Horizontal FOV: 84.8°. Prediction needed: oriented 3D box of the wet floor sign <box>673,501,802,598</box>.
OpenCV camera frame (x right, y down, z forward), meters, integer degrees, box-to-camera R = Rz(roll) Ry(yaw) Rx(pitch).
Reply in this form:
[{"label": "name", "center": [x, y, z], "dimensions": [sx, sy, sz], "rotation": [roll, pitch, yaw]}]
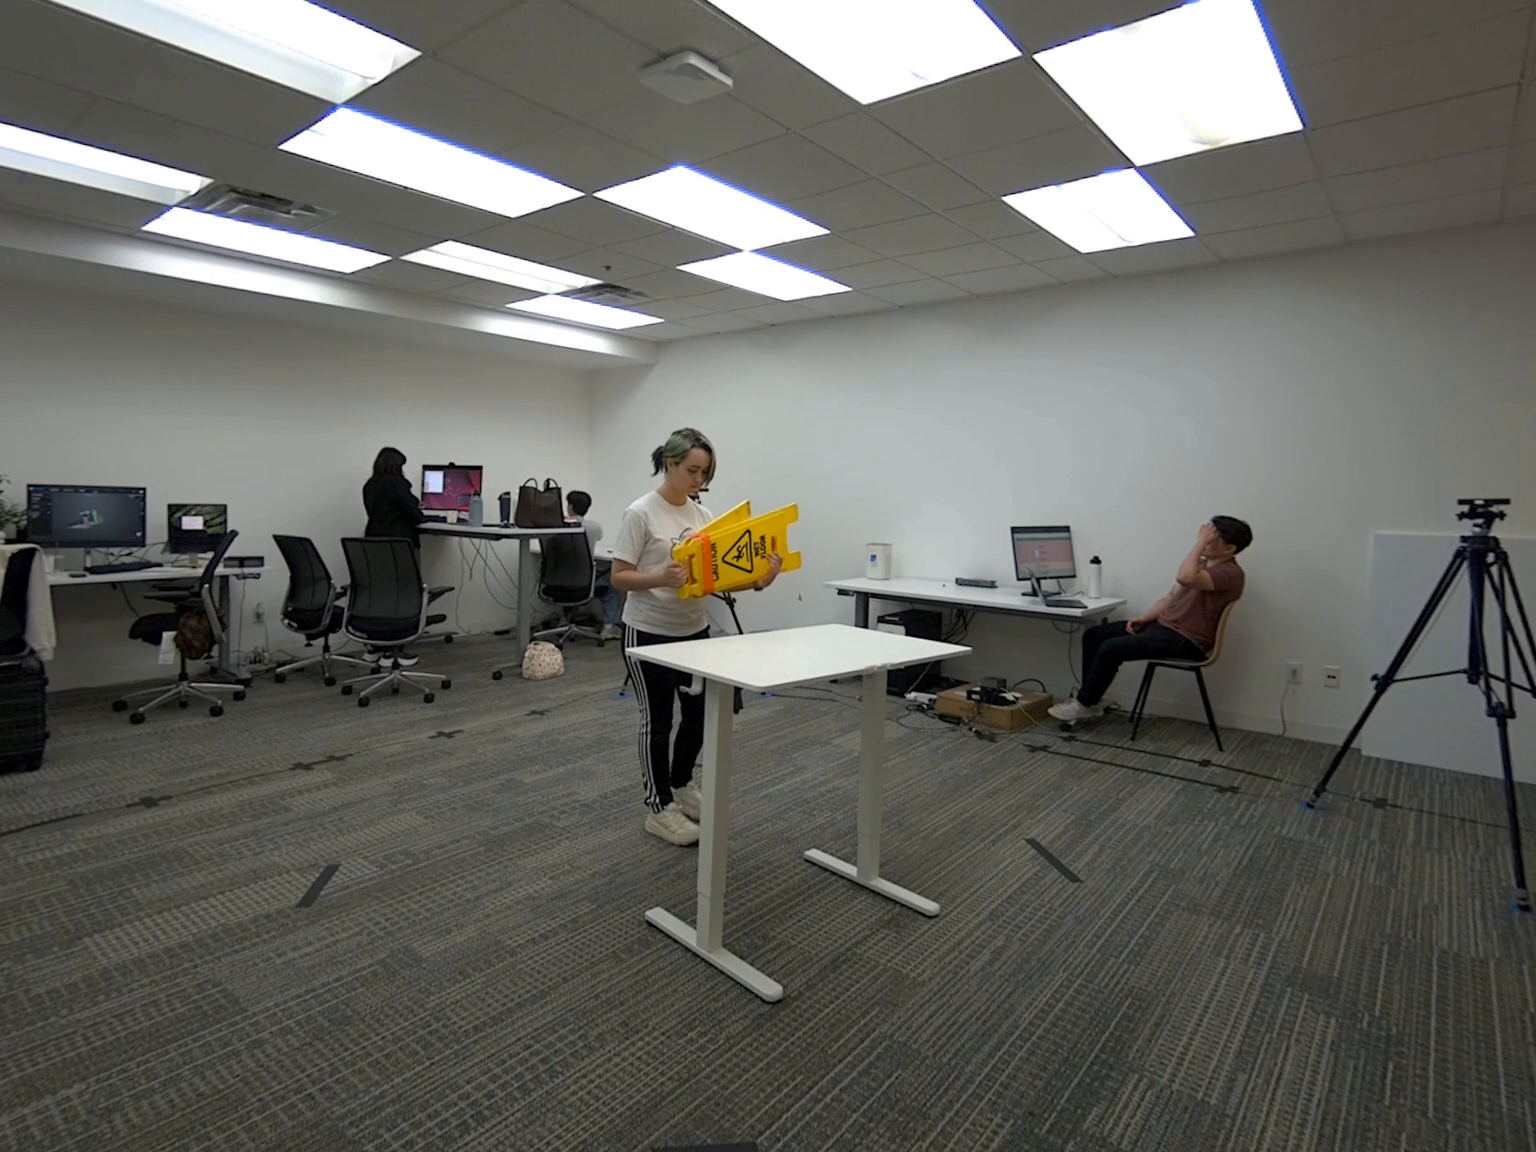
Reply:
[{"label": "wet floor sign", "center": [-0.163, -0.094, 3.394], "dimensions": [0.299, 0.278, 0.635], "rotation": [5, 20, 36]}]
